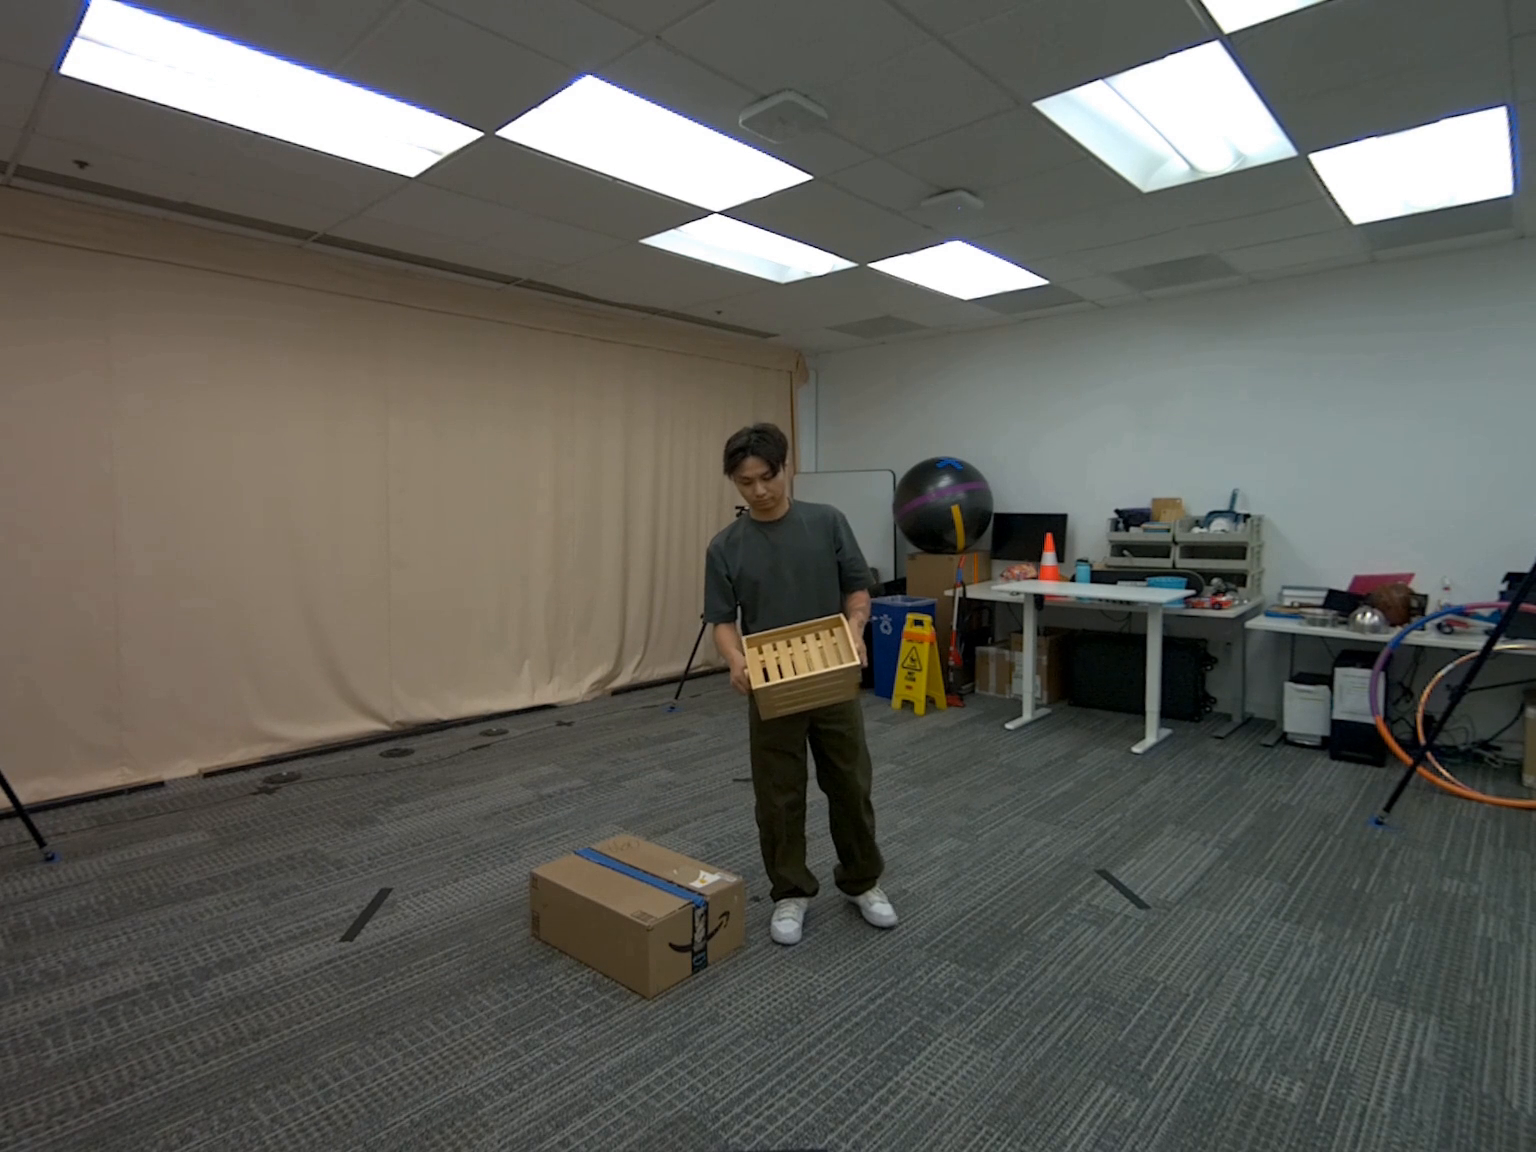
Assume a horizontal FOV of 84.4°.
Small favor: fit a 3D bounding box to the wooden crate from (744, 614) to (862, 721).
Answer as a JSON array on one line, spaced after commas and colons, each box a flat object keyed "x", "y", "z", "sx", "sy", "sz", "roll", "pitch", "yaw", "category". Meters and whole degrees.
[{"x": 0.097, "y": 0.235, "z": 2.476, "sx": 0.325, "sy": 0.310, "sz": 0.266, "roll": -13, "pitch": -41, "yaw": 0, "category": "wooden crate"}]
